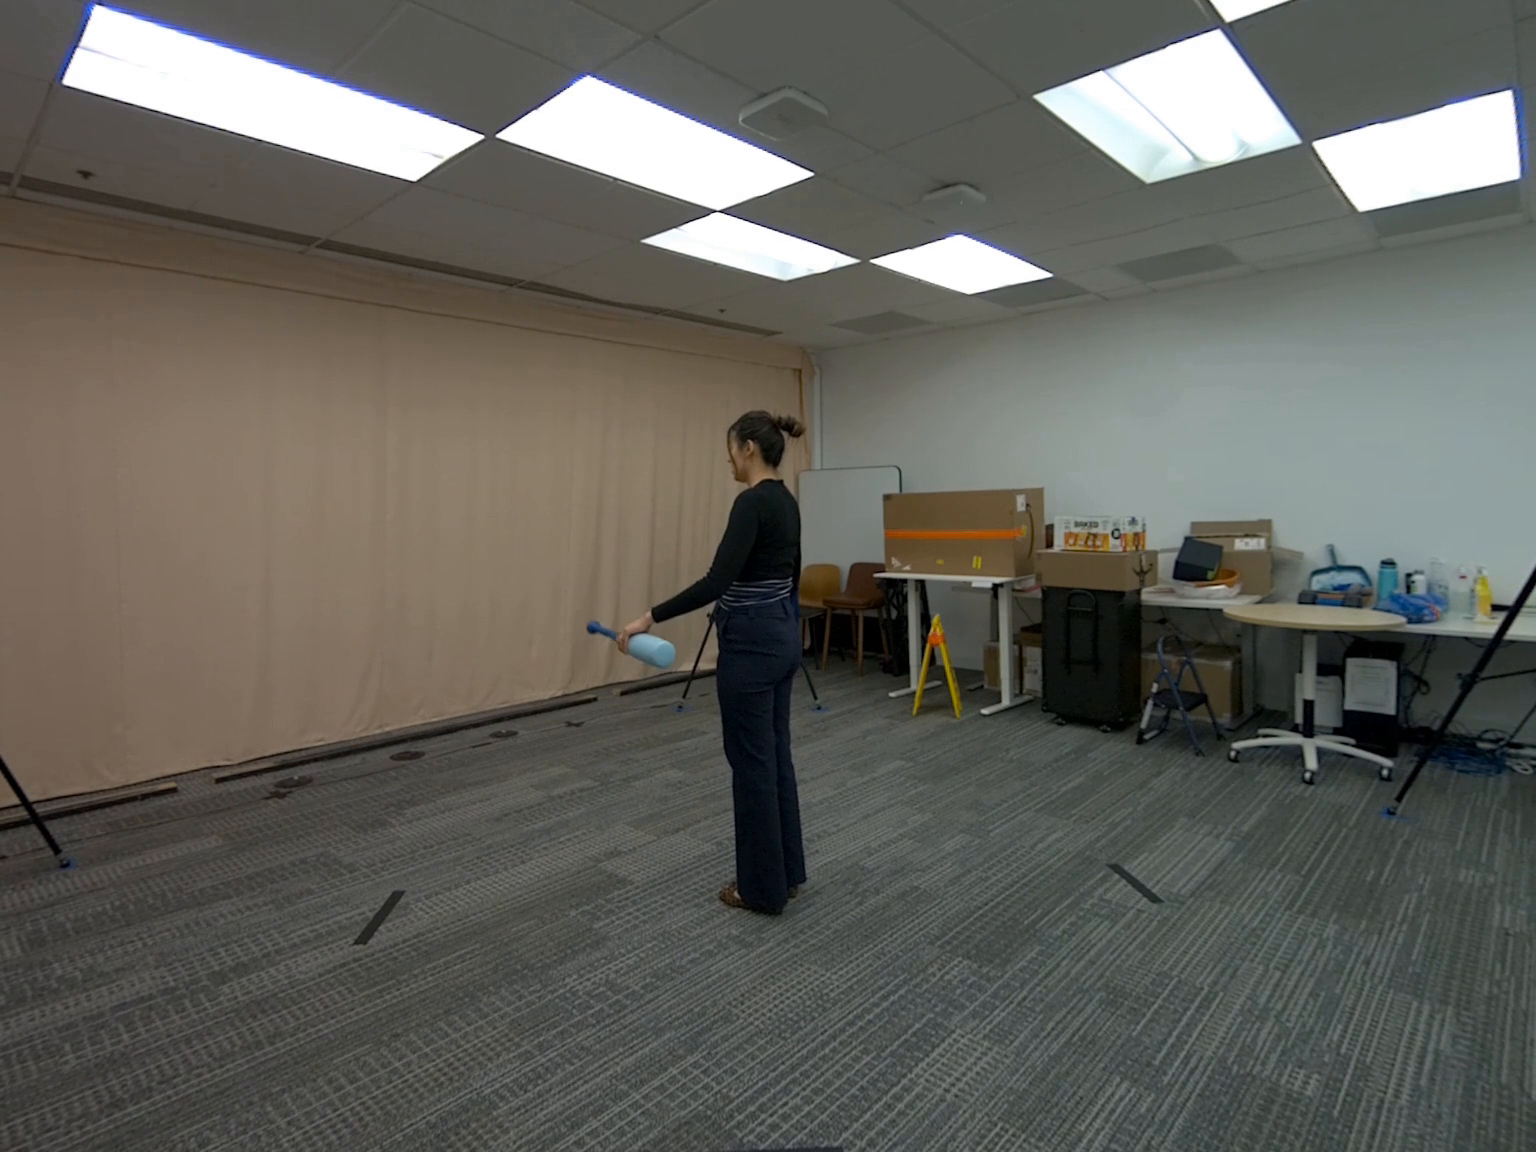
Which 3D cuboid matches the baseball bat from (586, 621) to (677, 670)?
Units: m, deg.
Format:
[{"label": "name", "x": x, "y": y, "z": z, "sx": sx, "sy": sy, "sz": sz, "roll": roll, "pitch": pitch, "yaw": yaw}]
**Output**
[{"label": "baseball bat", "x": -0.456, "y": 0.220, "z": 2.804, "sx": 0.086, "sy": 0.089, "sz": 0.561, "roll": -4, "pitch": 8, "yaw": -35}]
